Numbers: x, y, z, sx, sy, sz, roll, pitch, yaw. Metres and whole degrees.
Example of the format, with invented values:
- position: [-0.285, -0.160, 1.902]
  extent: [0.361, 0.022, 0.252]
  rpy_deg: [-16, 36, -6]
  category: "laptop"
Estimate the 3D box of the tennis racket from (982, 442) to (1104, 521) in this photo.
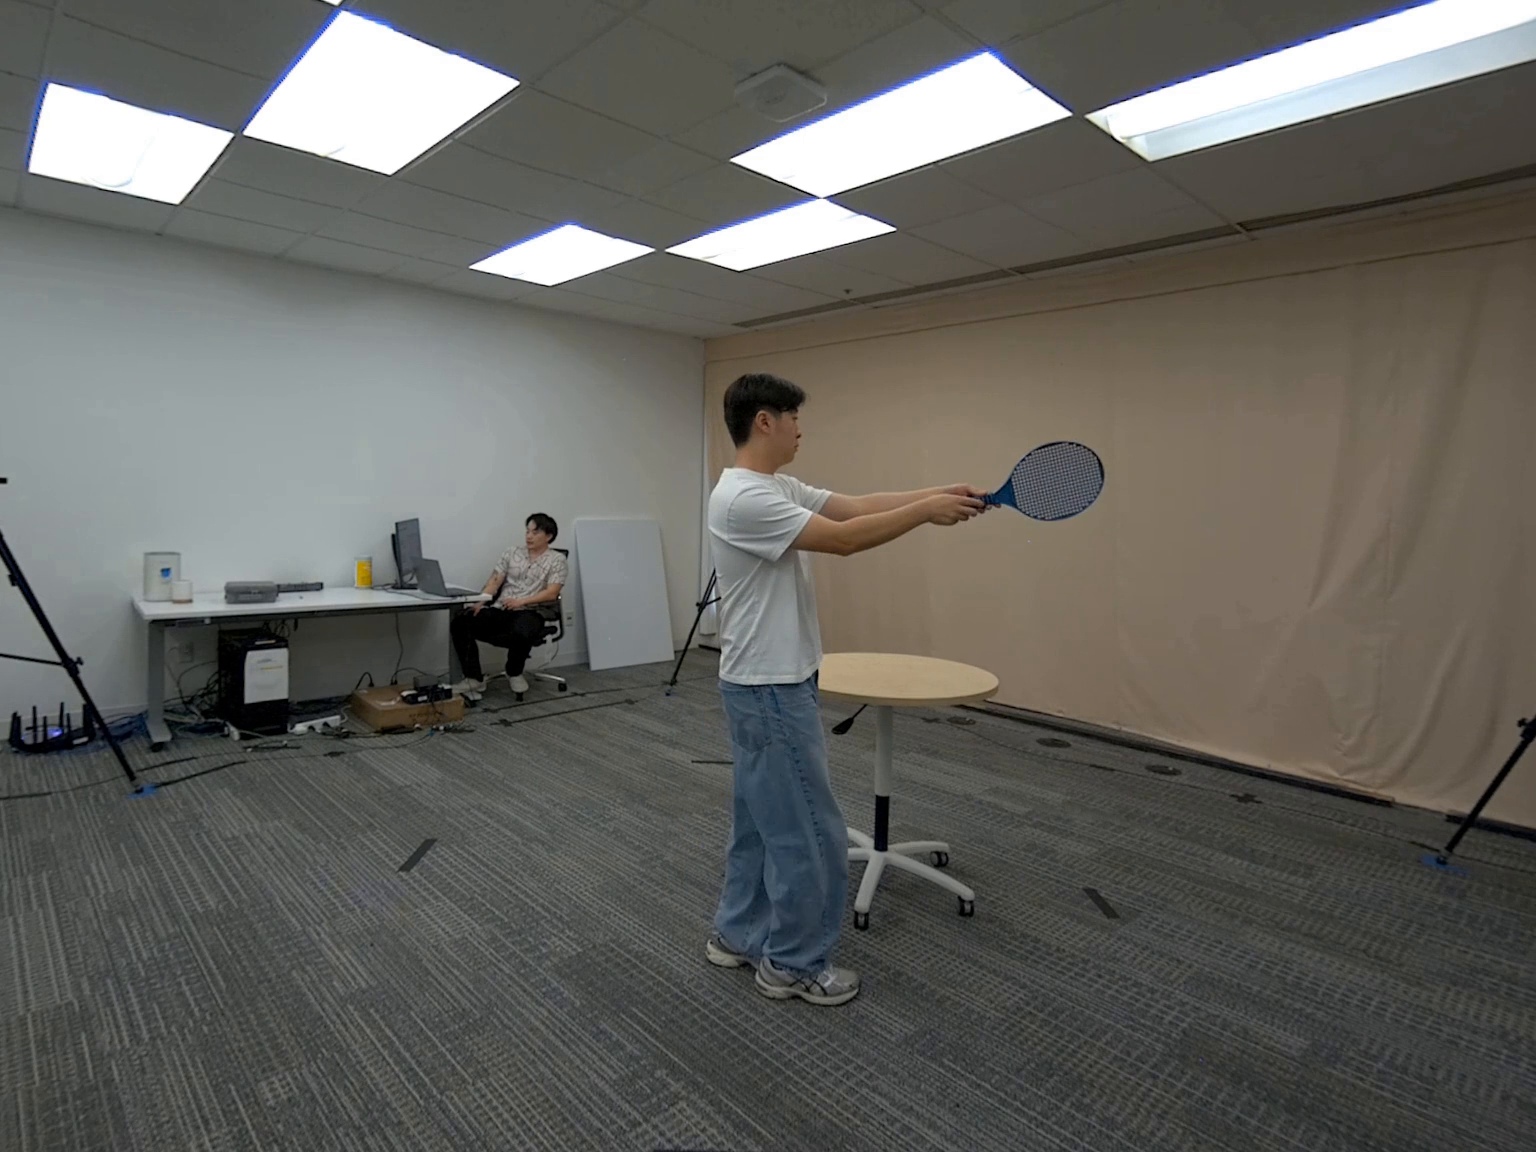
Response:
- position: [0.702, -0.237, 2.296]
  extent: [0.432, 0.212, 0.032]
  rpy_deg: [-19, 7, -2]
  category: "tennis racket"
